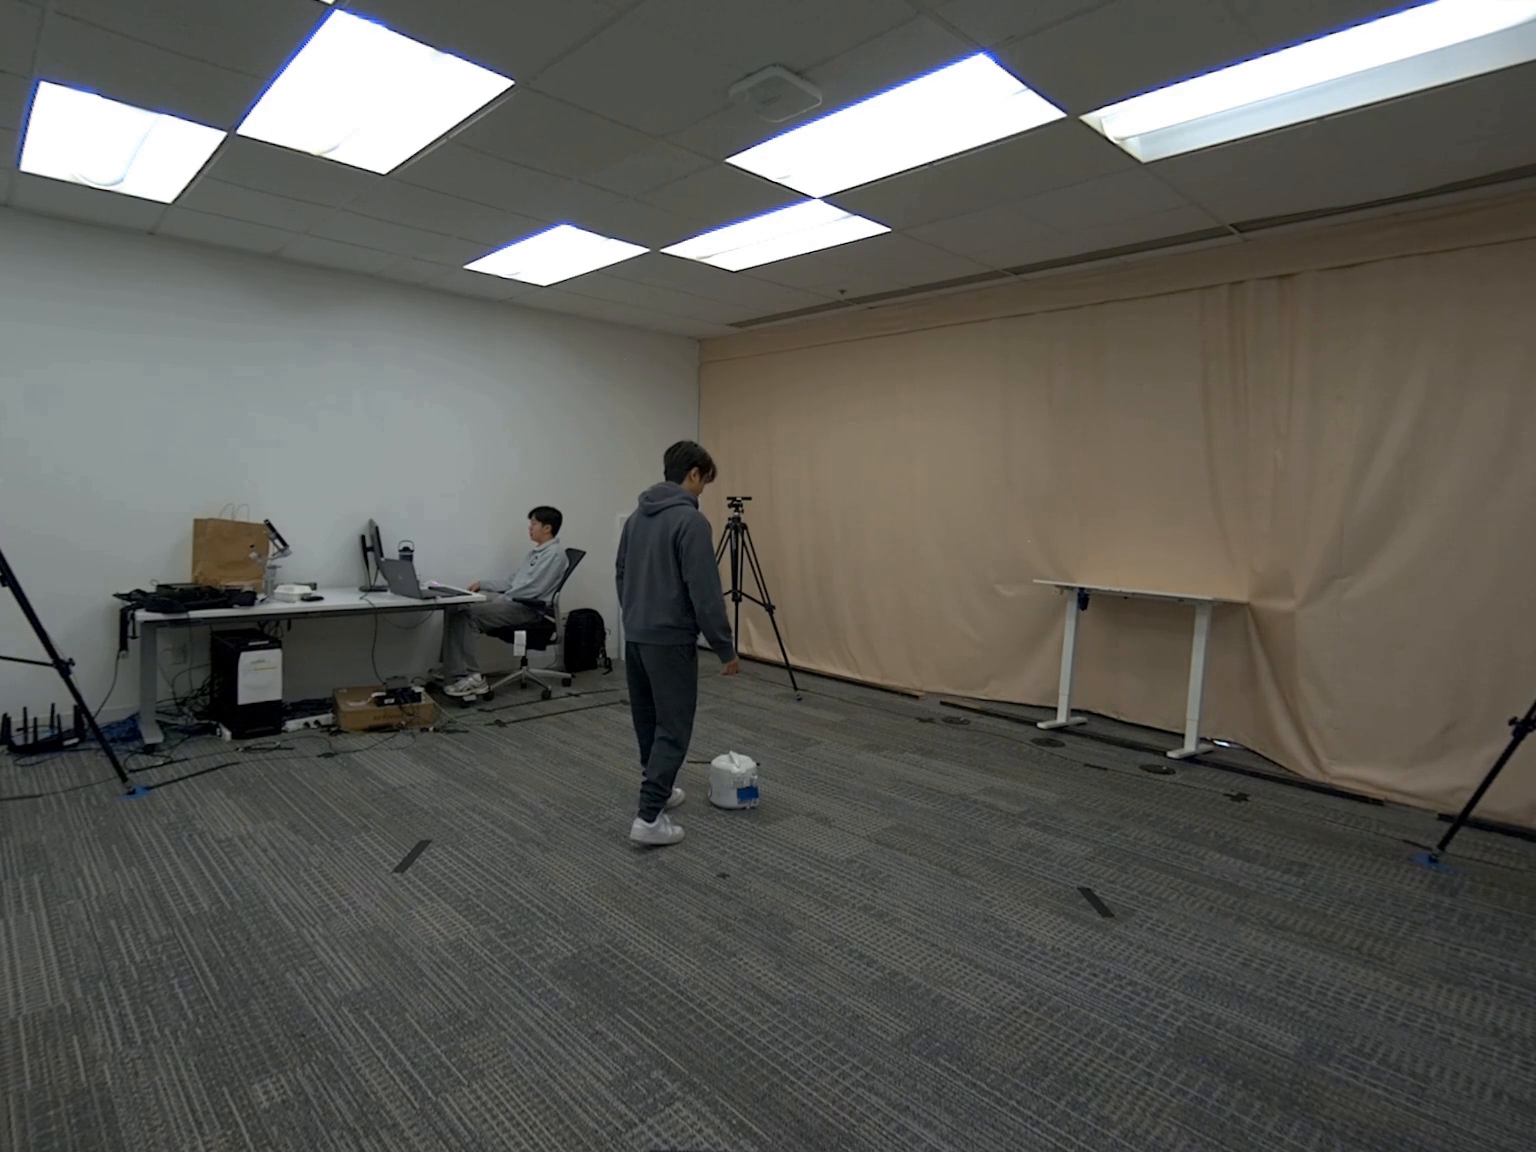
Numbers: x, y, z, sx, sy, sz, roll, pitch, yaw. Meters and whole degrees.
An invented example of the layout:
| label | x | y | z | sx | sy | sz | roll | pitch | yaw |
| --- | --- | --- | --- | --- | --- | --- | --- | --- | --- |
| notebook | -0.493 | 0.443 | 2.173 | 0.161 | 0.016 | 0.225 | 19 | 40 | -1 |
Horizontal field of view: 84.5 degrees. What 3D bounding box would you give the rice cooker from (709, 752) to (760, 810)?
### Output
| label | x | y | z | sx | sy | sz | roll | pitch | yaw |
| --- | --- | --- | --- | --- | --- | --- | --- | --- | --- |
| rice cooker | -0.172 | 0.924 | 3.849 | 0.215 | 0.232 | 0.223 | 2 | 4 | -13 |
